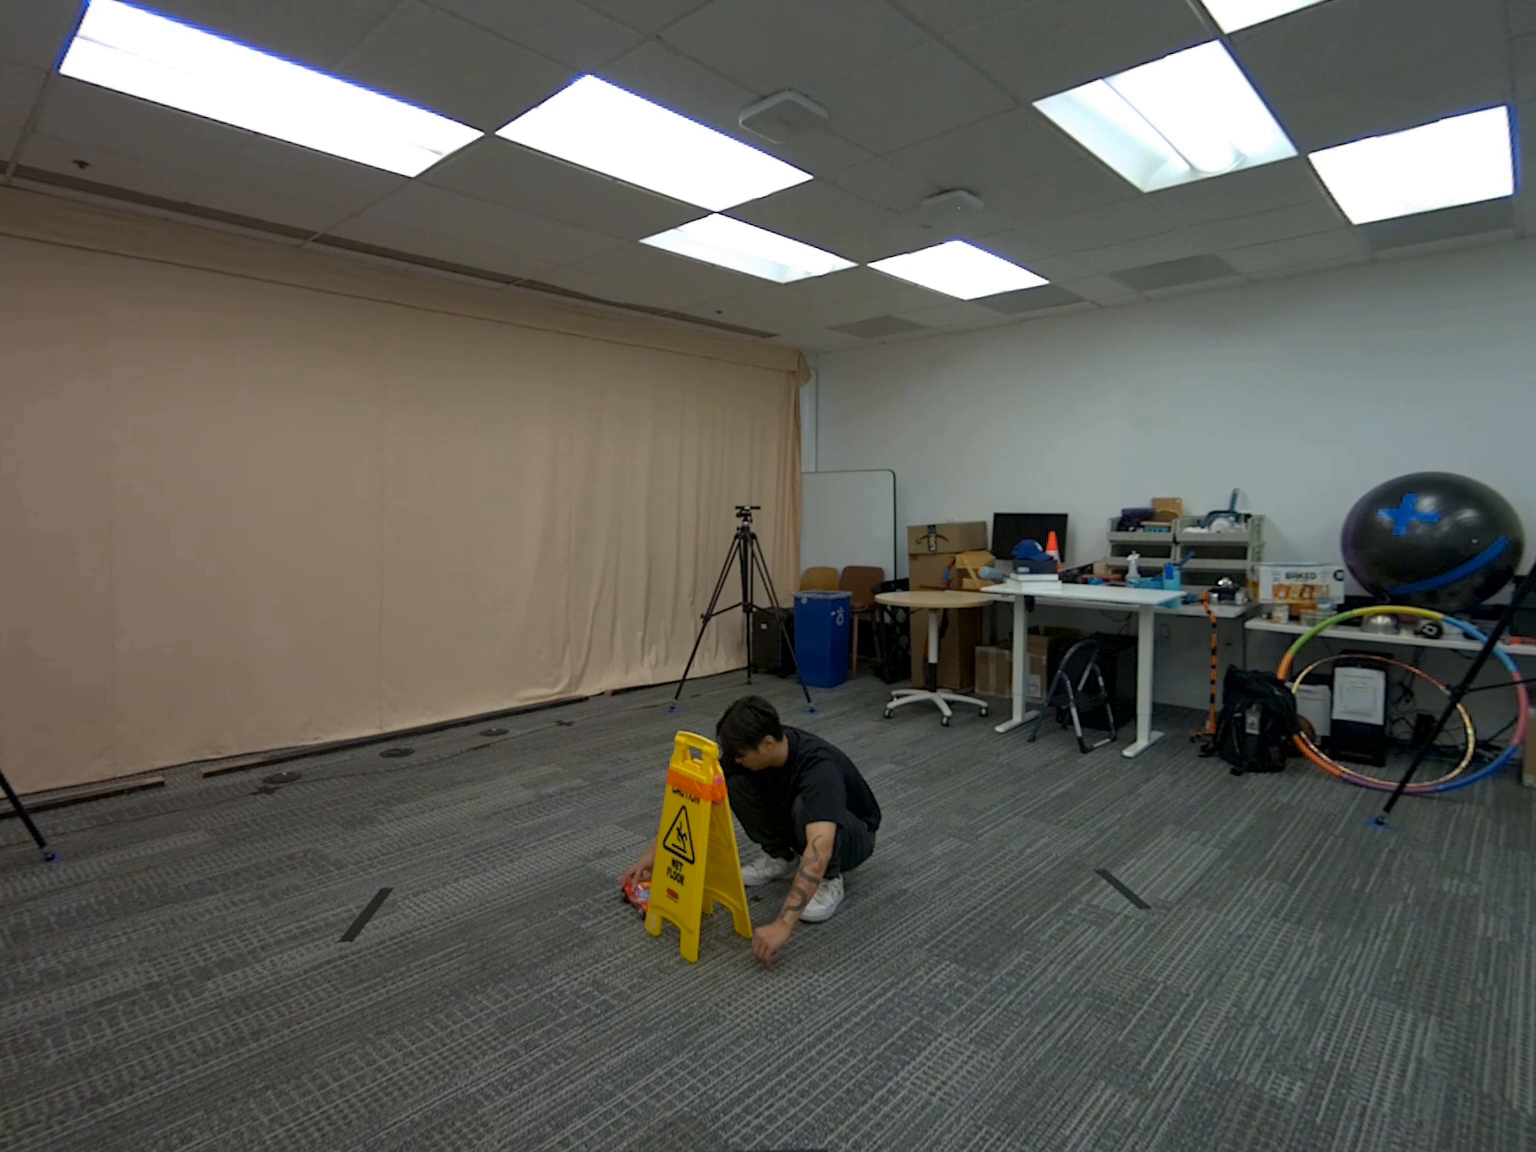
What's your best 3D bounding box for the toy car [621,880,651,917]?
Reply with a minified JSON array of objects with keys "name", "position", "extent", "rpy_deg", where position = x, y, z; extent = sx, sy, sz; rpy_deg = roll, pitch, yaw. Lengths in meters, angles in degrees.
[{"name":"toy car","position":[-0.430,1.126,2.956],"extent":[0.127,0.082,0.263],"rpy_deg":[-4,15,-31]}]
